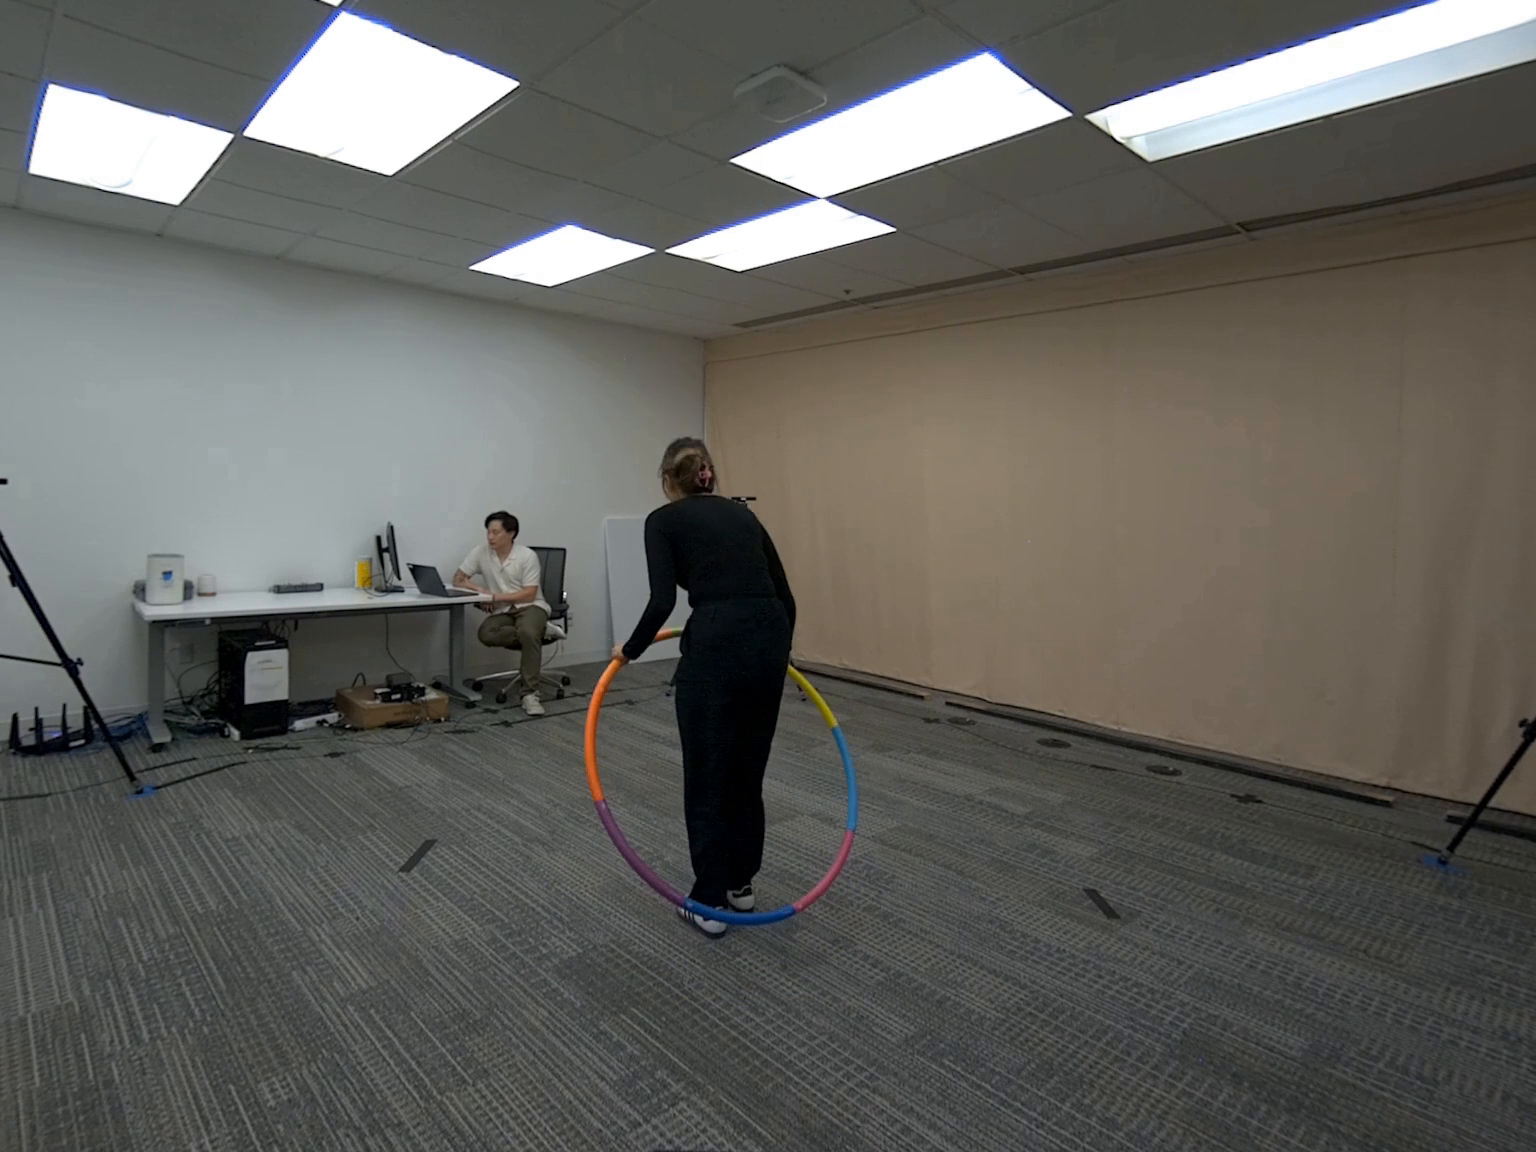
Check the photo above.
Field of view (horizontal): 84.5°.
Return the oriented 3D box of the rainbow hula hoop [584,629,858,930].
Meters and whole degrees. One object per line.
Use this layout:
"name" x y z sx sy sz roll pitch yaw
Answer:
"rainbow hula hoop" -0.131 0.608 2.717 0.957 1.002 0.035 -2 -34 -35
